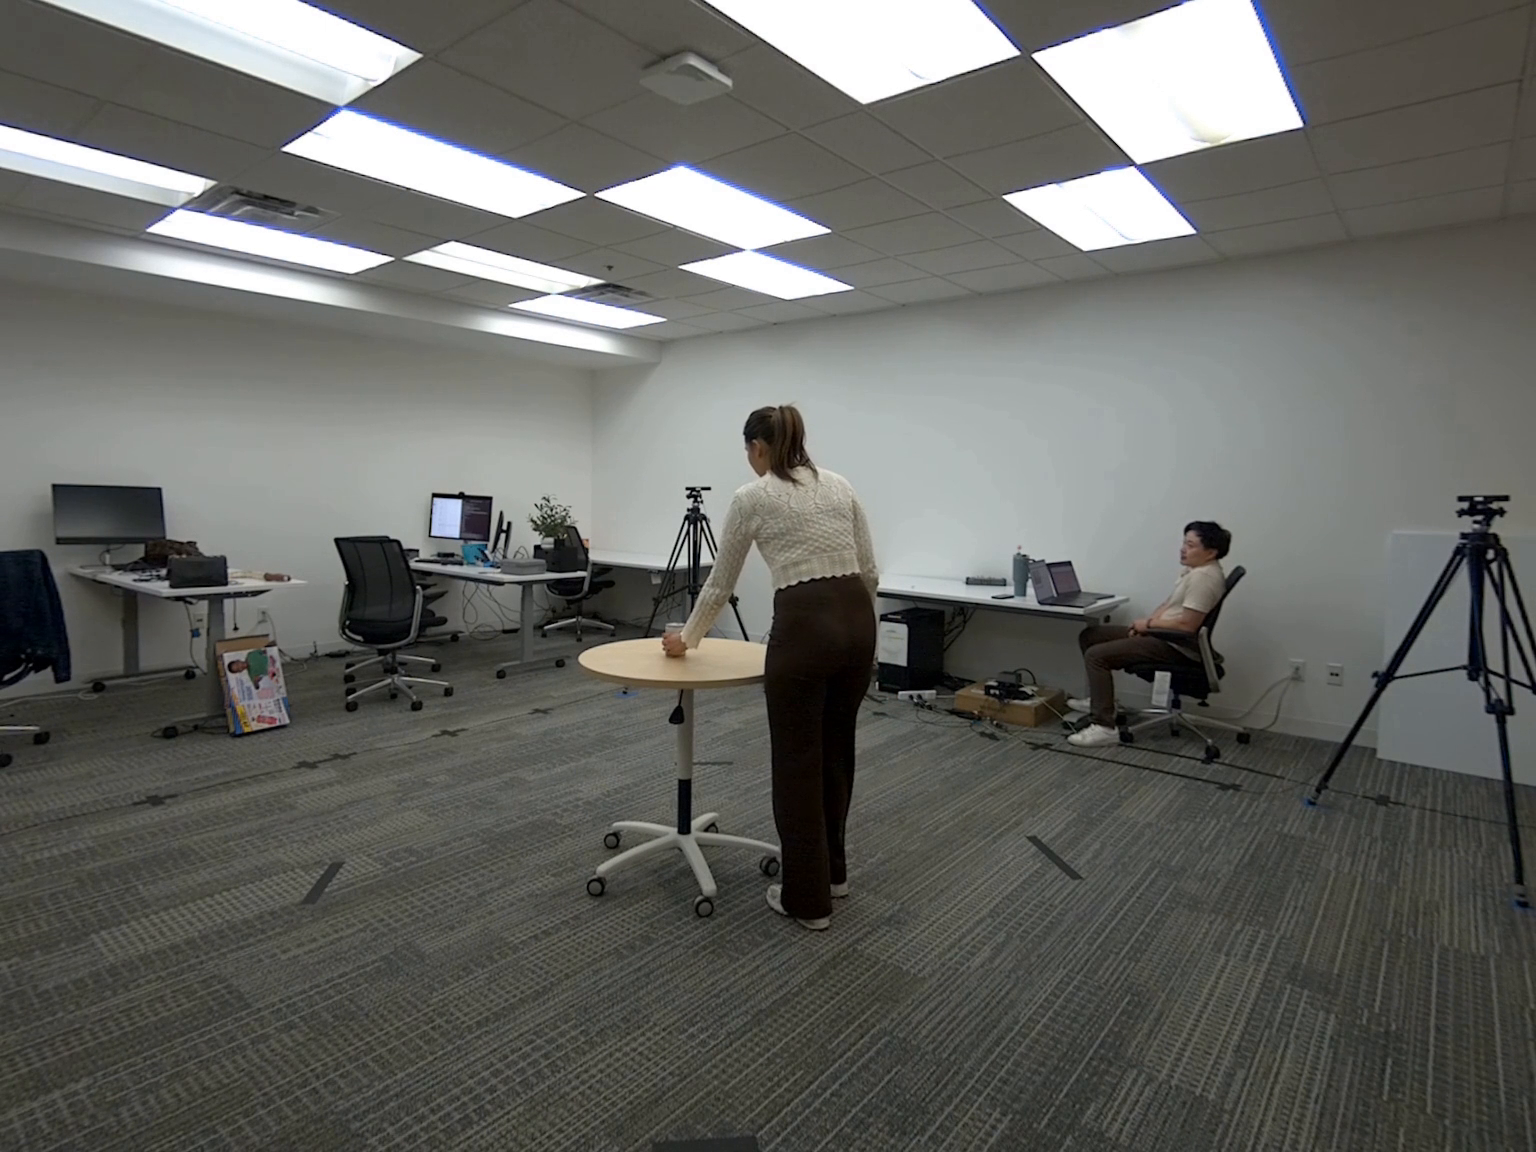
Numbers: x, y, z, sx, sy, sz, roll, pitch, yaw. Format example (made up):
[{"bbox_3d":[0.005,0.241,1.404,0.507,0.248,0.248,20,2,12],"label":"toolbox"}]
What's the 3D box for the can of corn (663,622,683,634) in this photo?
[{"bbox_3d":[-0.340,0.225,3.069,0.074,0.110,0.075,2,5,-2],"label":"can of corn"}]
